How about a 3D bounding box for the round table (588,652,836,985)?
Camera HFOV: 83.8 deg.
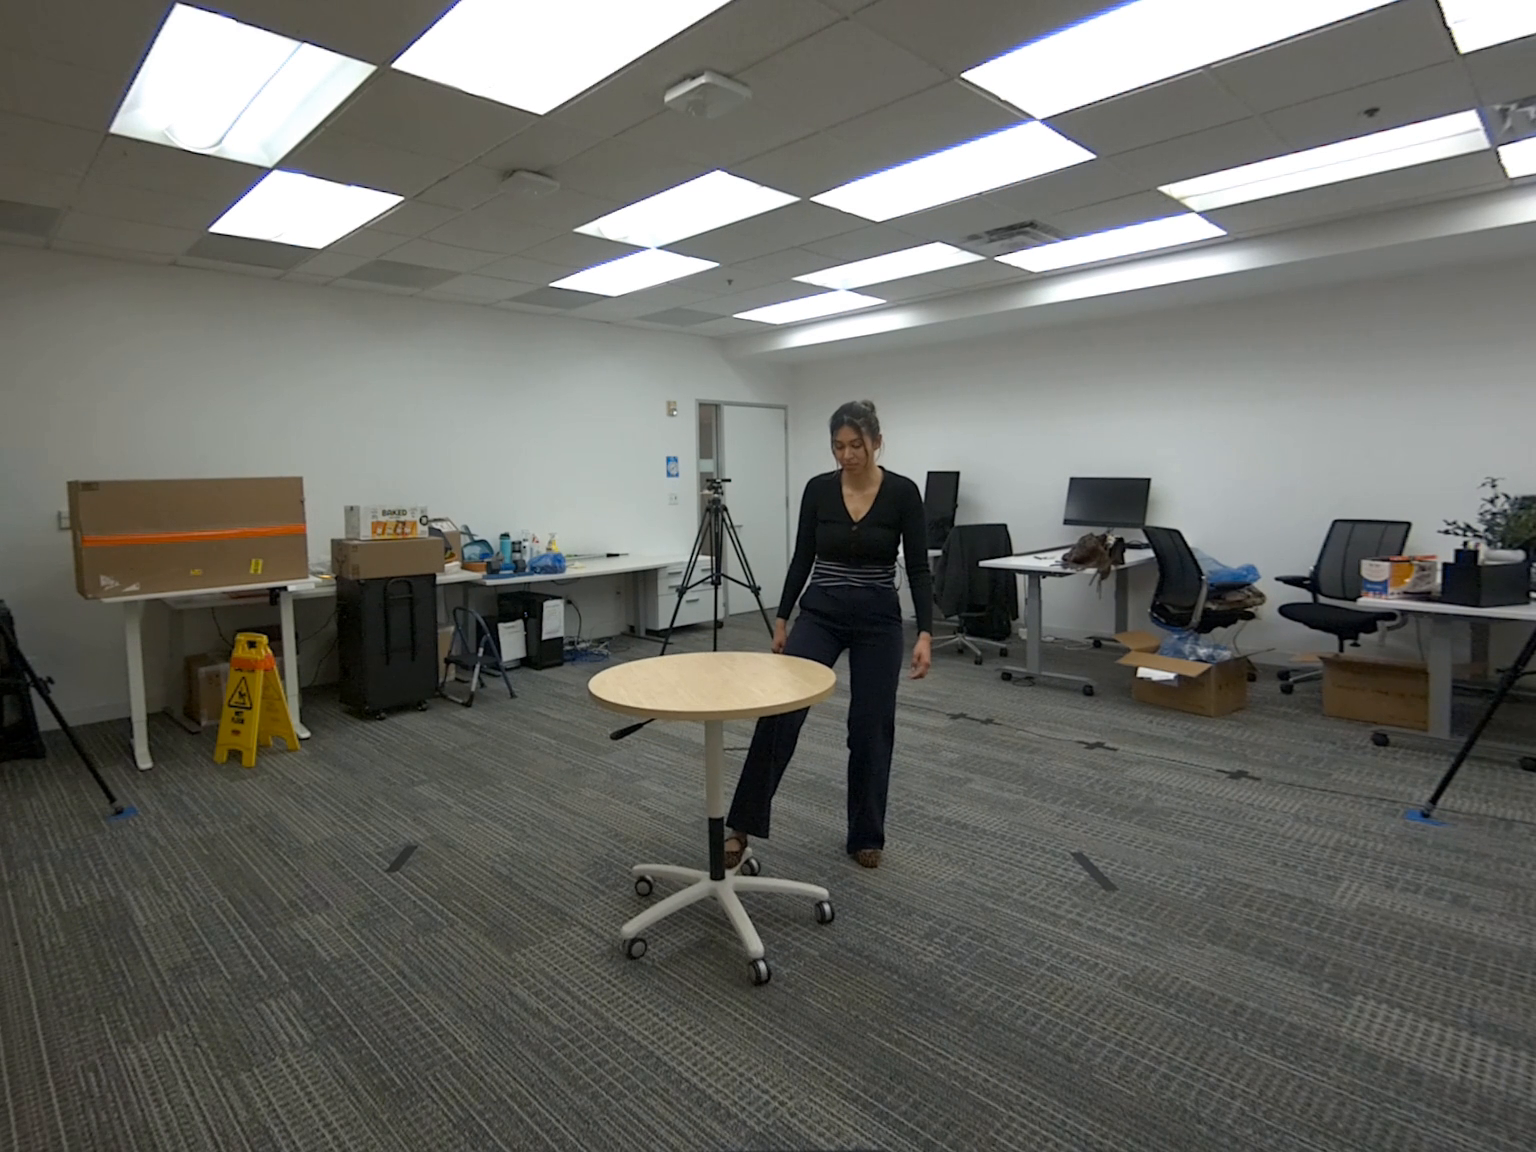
[{"bbox_3d":[-0.153,0.709,2.676,0.763,0.791,0.768,-2,5,-2],"label":"round table"}]
